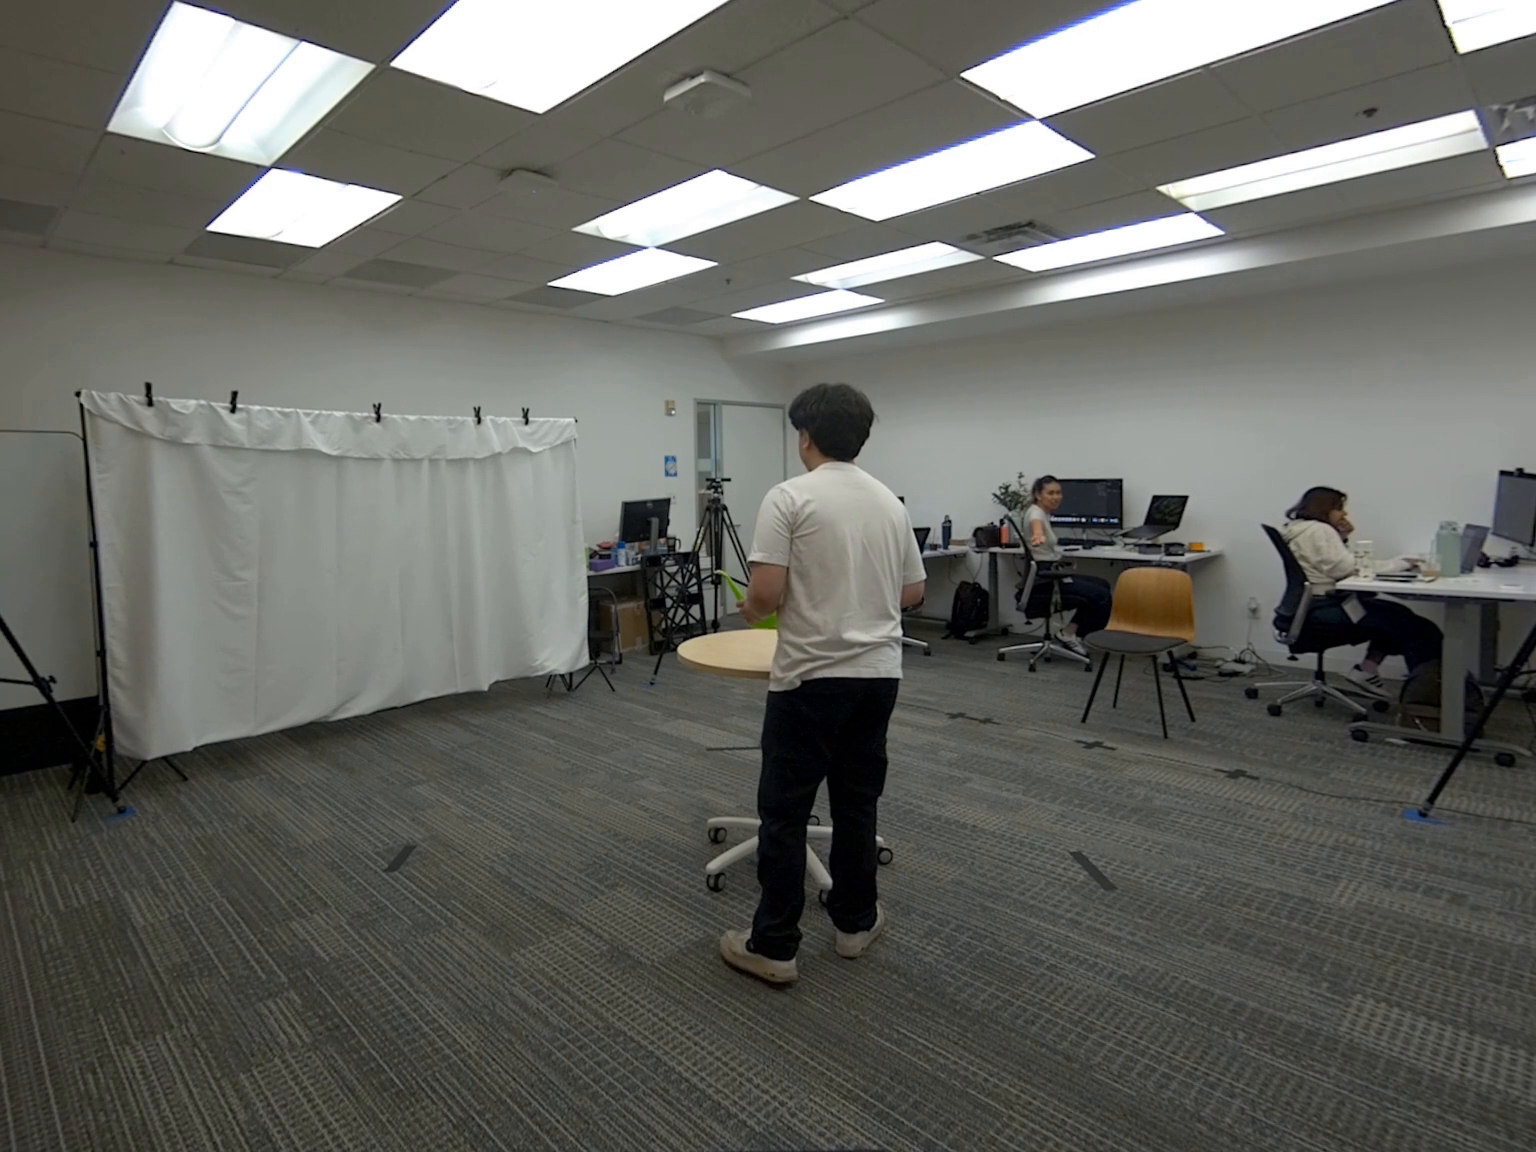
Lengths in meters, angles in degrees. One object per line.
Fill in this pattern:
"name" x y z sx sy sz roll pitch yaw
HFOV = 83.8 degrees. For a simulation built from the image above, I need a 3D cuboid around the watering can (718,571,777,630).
"watering can" -0.021 0.083 2.694 0.279 0.177 0.097 2 -1 3
